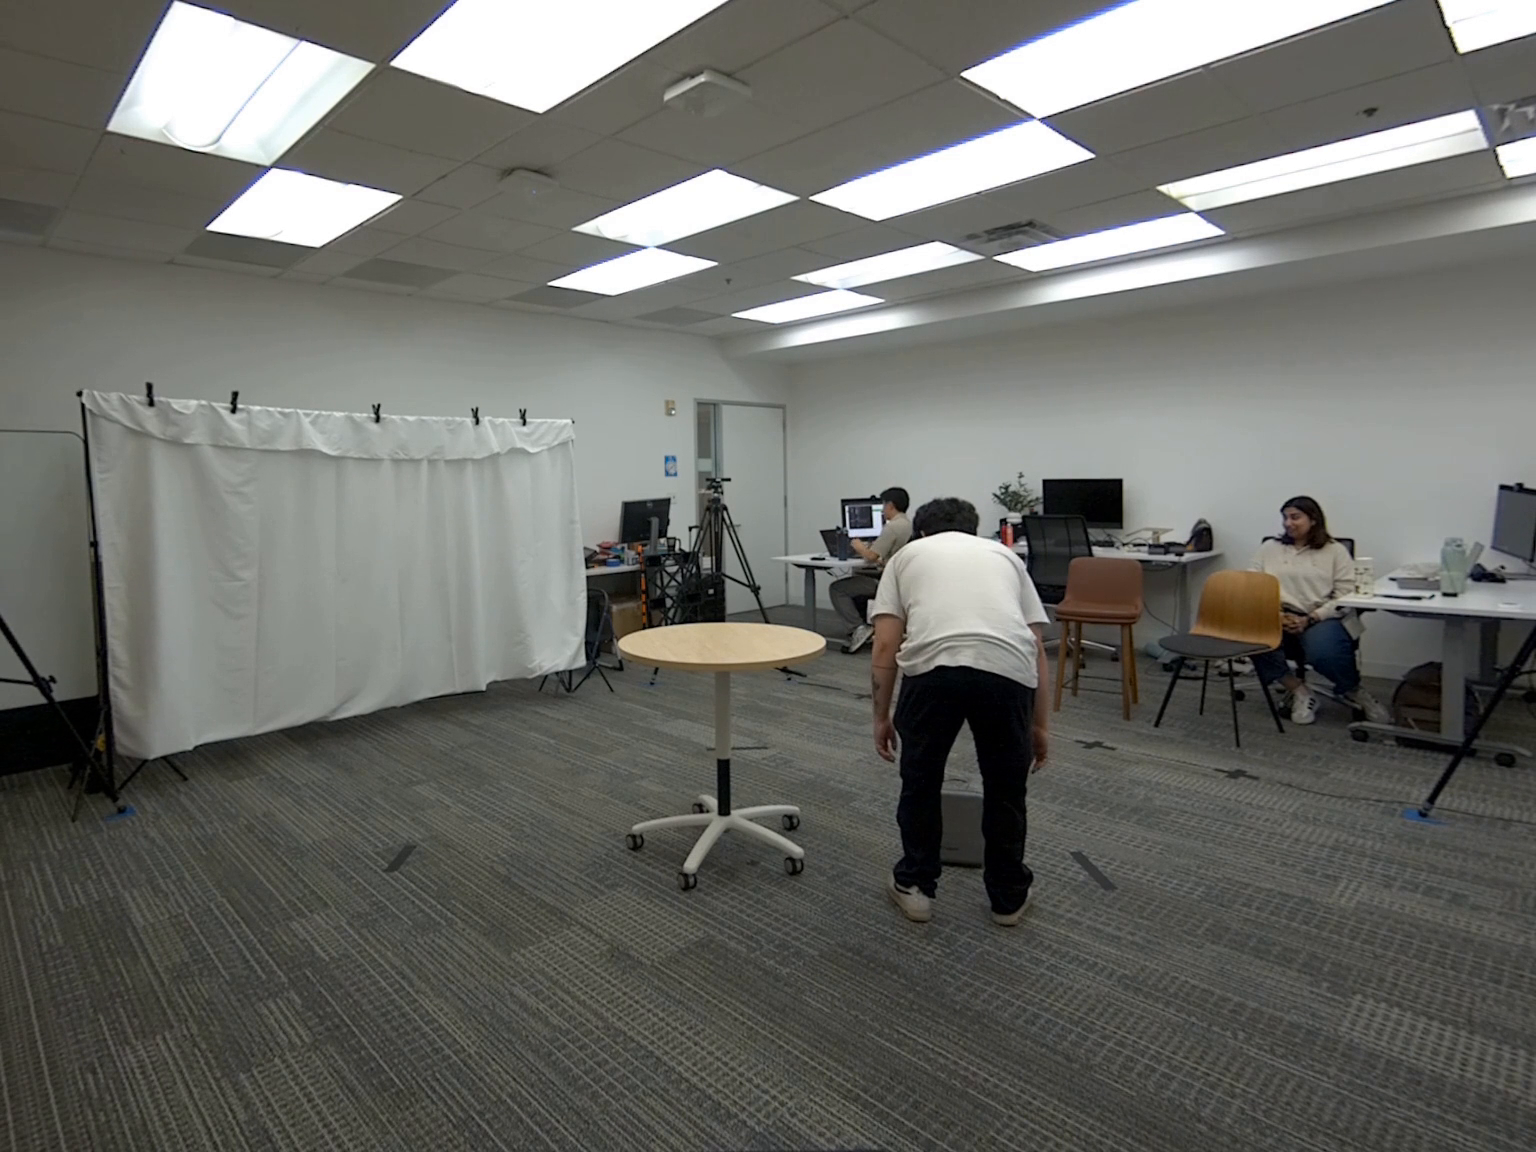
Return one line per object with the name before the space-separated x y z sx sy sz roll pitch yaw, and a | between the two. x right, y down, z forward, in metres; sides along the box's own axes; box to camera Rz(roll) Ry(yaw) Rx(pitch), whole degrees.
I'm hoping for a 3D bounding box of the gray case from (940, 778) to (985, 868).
gray case | 0.671 0.907 3.115 0.260 0.263 0.102 0 -9 13
